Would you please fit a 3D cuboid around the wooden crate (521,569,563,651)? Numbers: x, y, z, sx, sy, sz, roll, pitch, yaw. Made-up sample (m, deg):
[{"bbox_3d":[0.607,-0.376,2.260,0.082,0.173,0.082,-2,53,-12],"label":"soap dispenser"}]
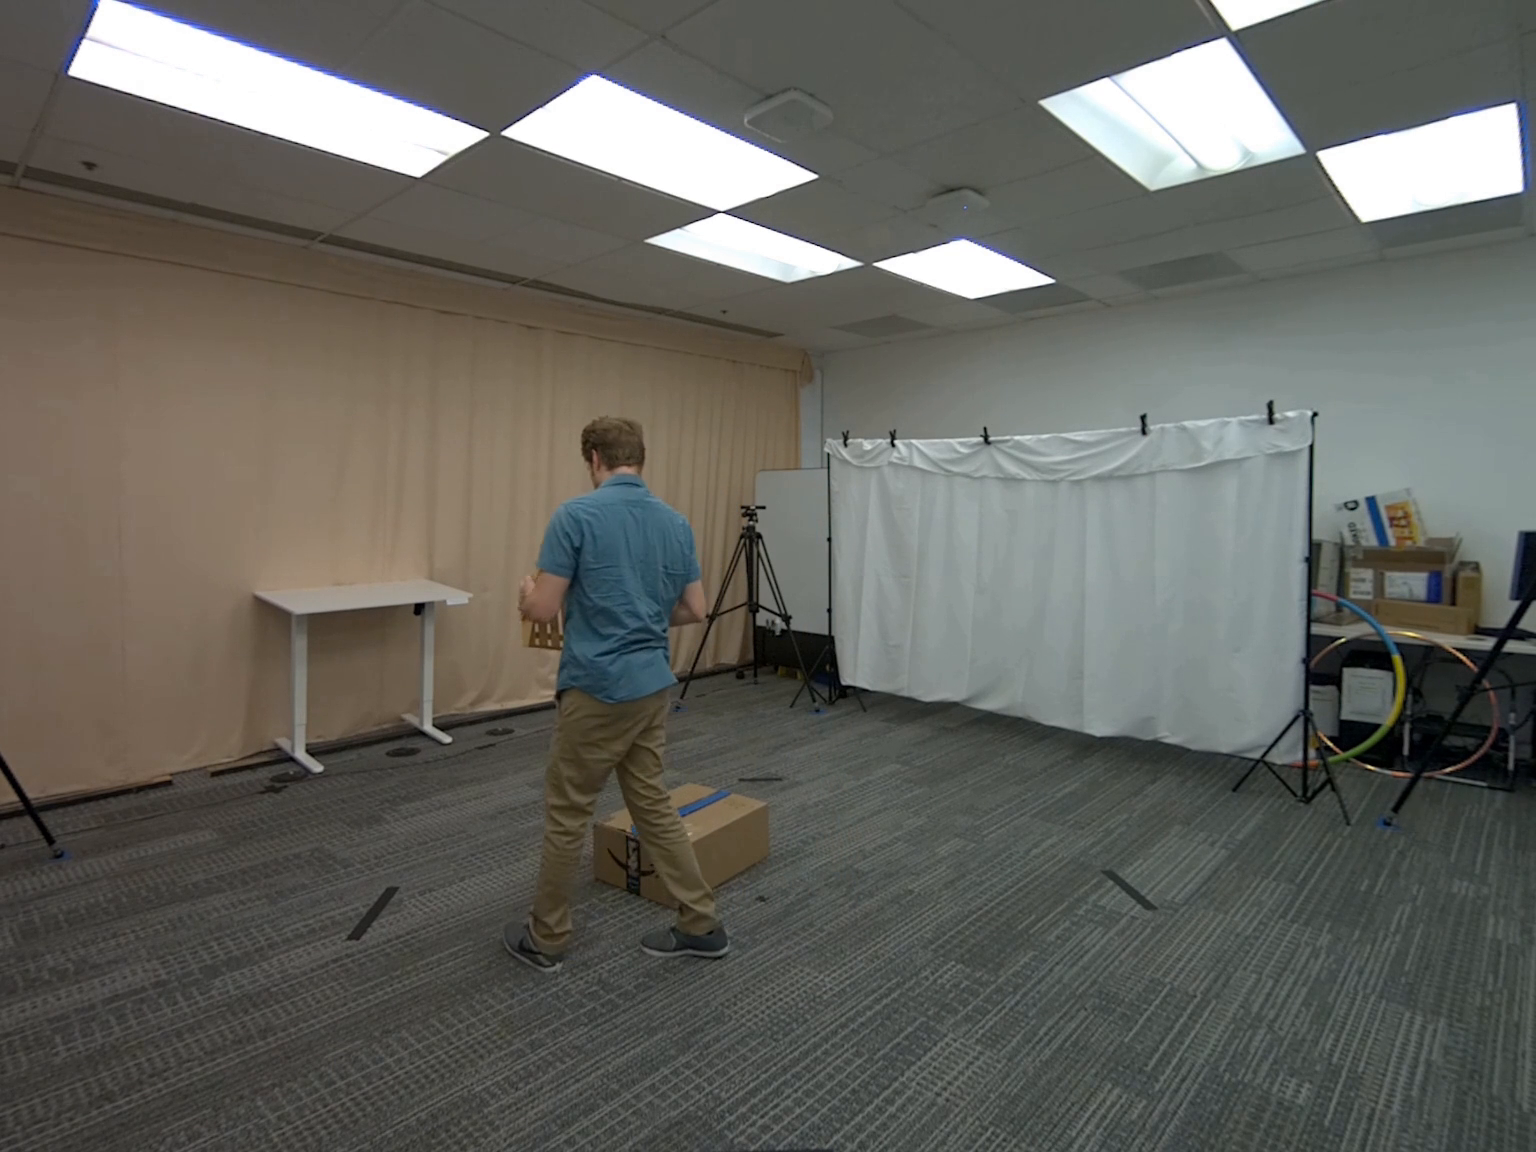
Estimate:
[{"bbox_3d":[-0.623,0.075,2.770,0.314,0.309,0.276,11,-38,-34],"label":"wooden crate"}]
